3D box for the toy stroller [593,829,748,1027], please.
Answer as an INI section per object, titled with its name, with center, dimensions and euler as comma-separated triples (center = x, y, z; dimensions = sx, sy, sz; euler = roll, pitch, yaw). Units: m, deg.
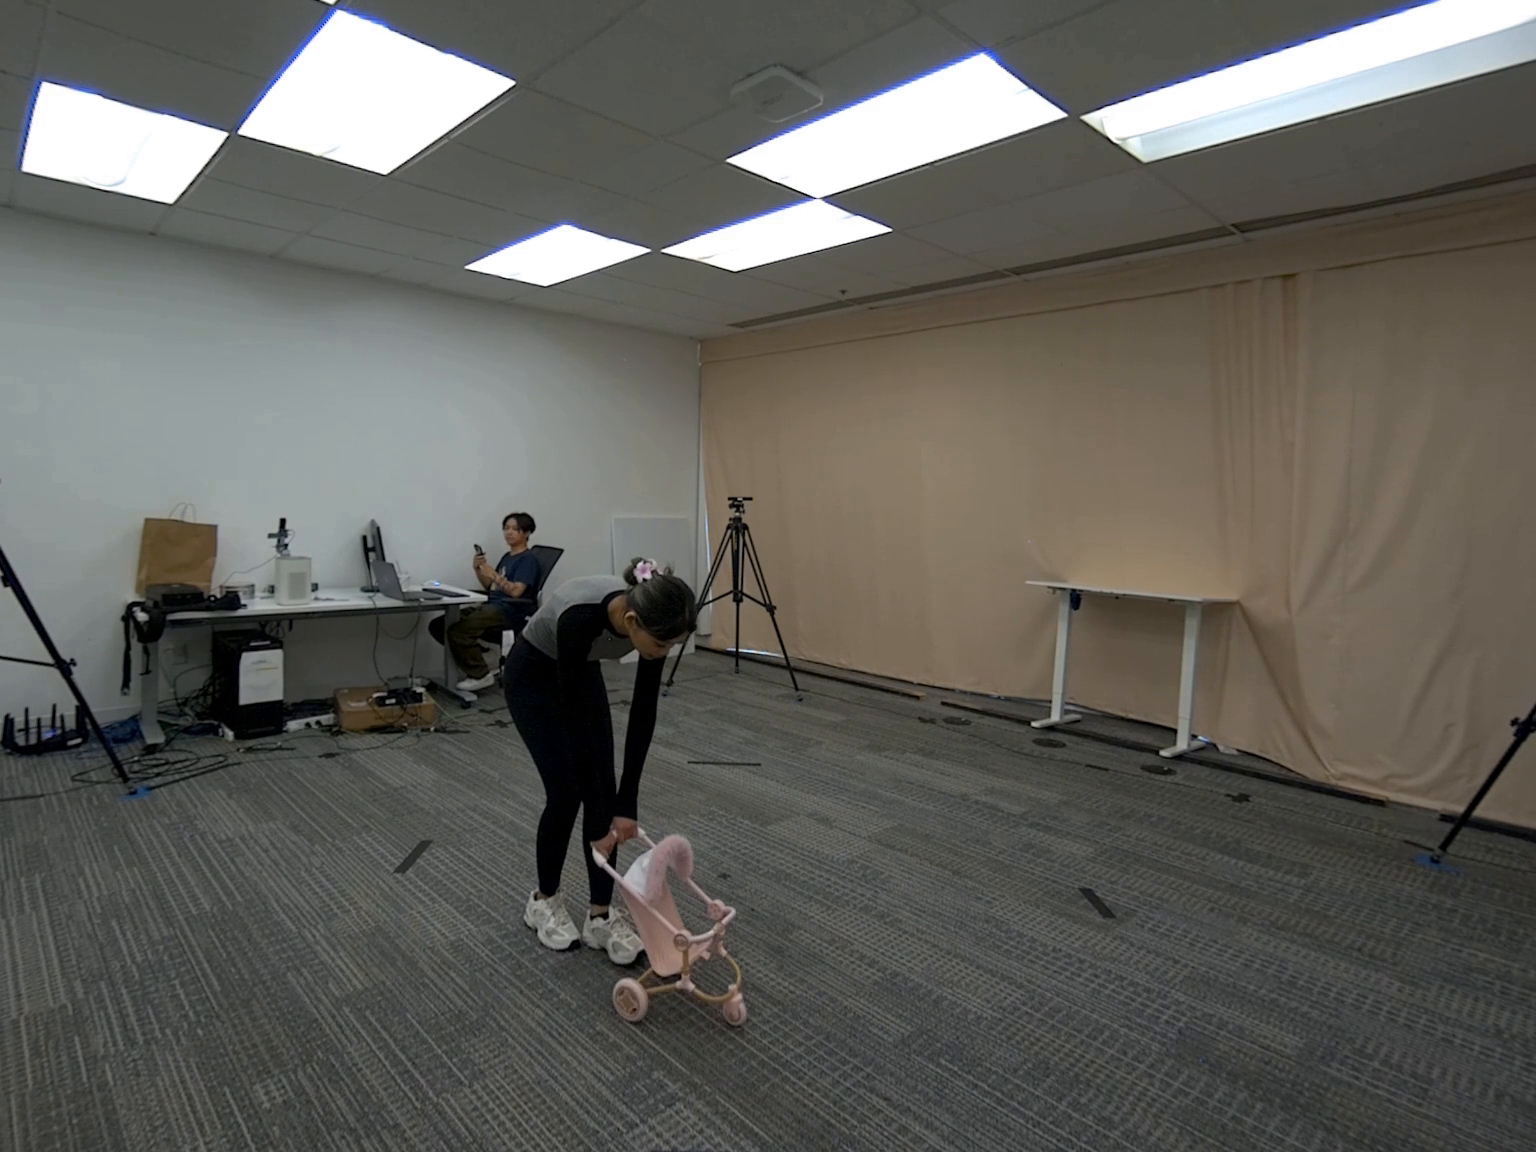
[toy stroller]
center = -0.262, 0.954, 2.304
dimensions = 0.346, 0.537, 0.276
euler = -15, -5, 31
